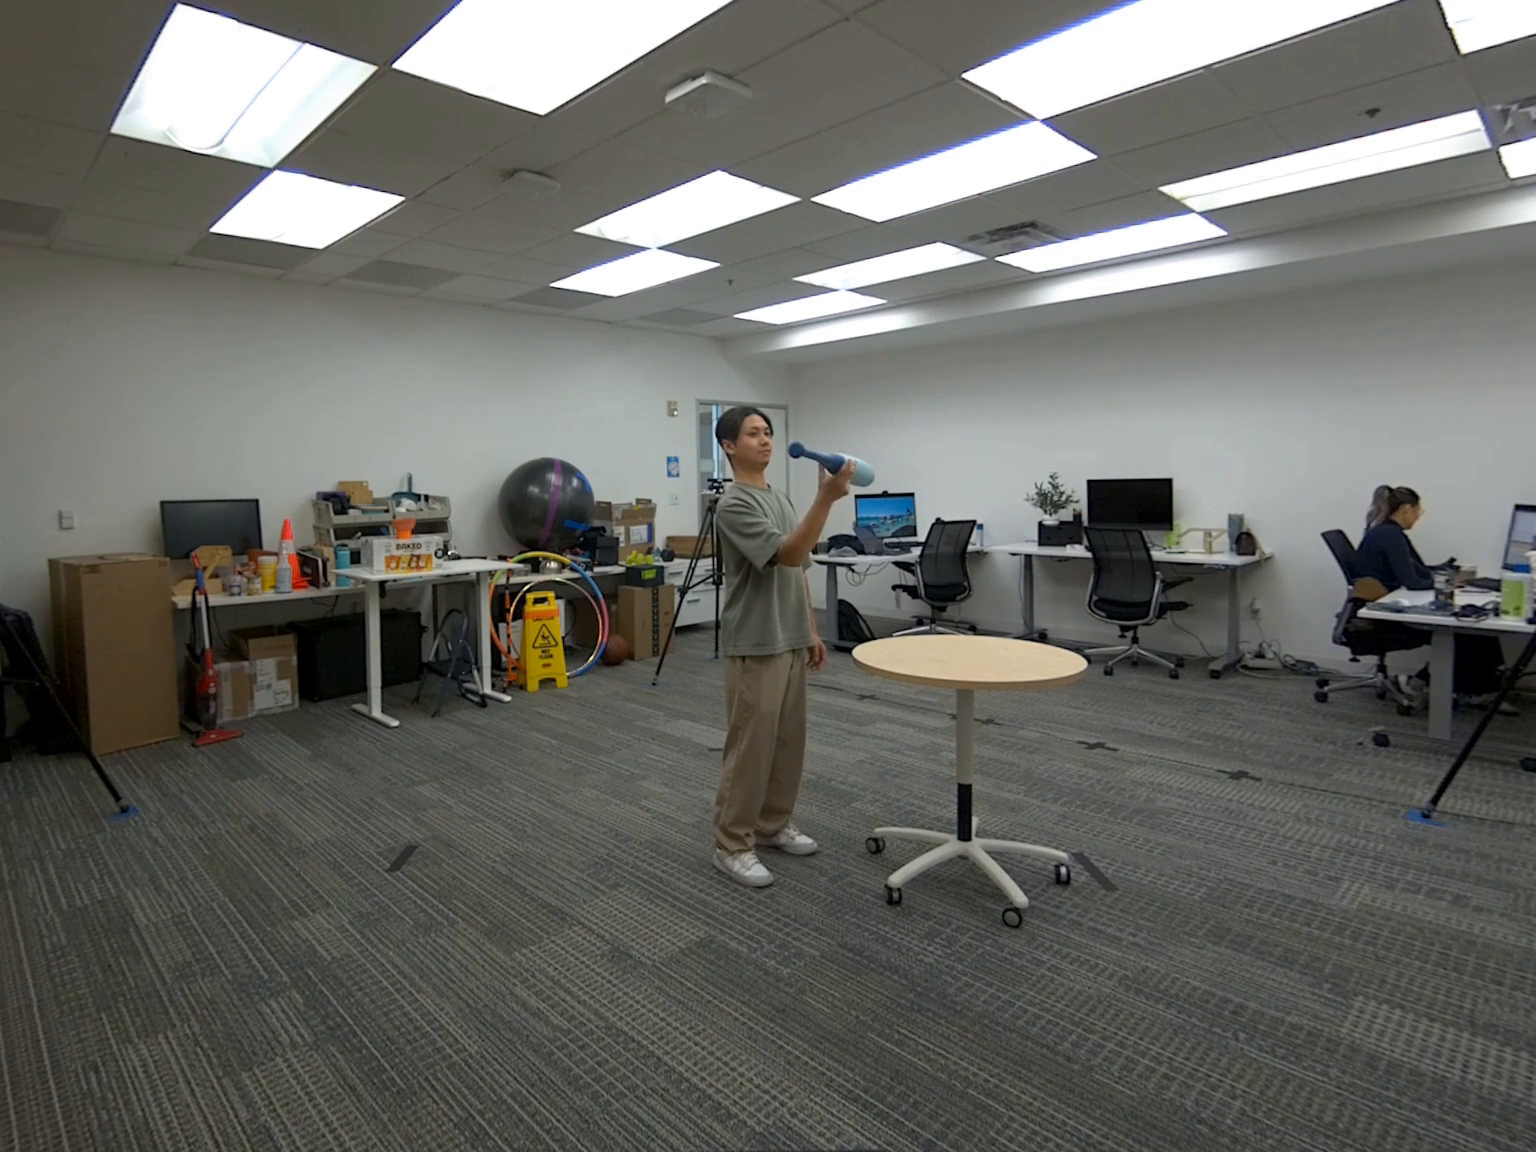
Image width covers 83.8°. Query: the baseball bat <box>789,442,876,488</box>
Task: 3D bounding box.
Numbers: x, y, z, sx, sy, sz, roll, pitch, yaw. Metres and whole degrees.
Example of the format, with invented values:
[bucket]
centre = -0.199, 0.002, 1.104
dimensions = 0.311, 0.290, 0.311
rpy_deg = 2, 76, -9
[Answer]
[baseball bat]
centre = 0.214, -0.356, 2.714
dimensions = 0.091, 0.089, 0.528
rpy_deg = 2, -1, 29
